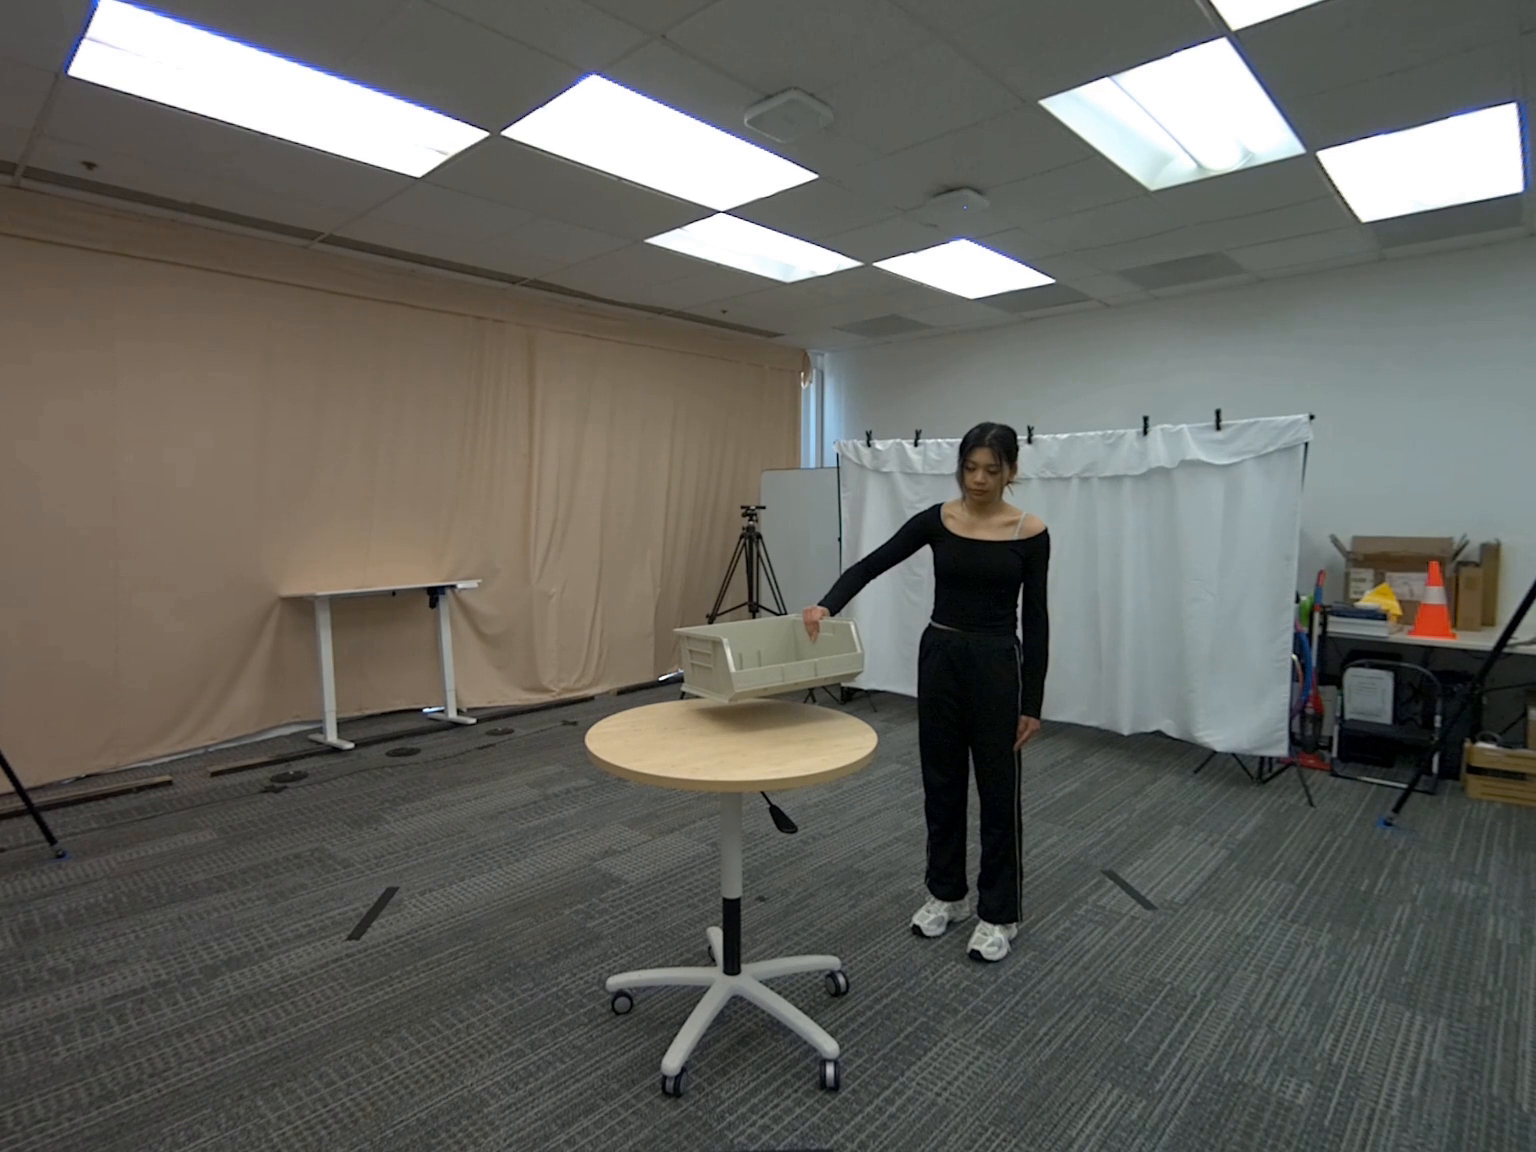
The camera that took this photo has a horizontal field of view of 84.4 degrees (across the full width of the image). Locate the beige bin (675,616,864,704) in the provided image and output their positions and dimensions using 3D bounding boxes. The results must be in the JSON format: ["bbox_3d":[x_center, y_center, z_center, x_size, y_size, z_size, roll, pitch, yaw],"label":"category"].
[{"bbox_3d":[0.006,0.230,2.413,0.412,0.189,0.386,-6,1,-27],"label":"beige bin"}]
